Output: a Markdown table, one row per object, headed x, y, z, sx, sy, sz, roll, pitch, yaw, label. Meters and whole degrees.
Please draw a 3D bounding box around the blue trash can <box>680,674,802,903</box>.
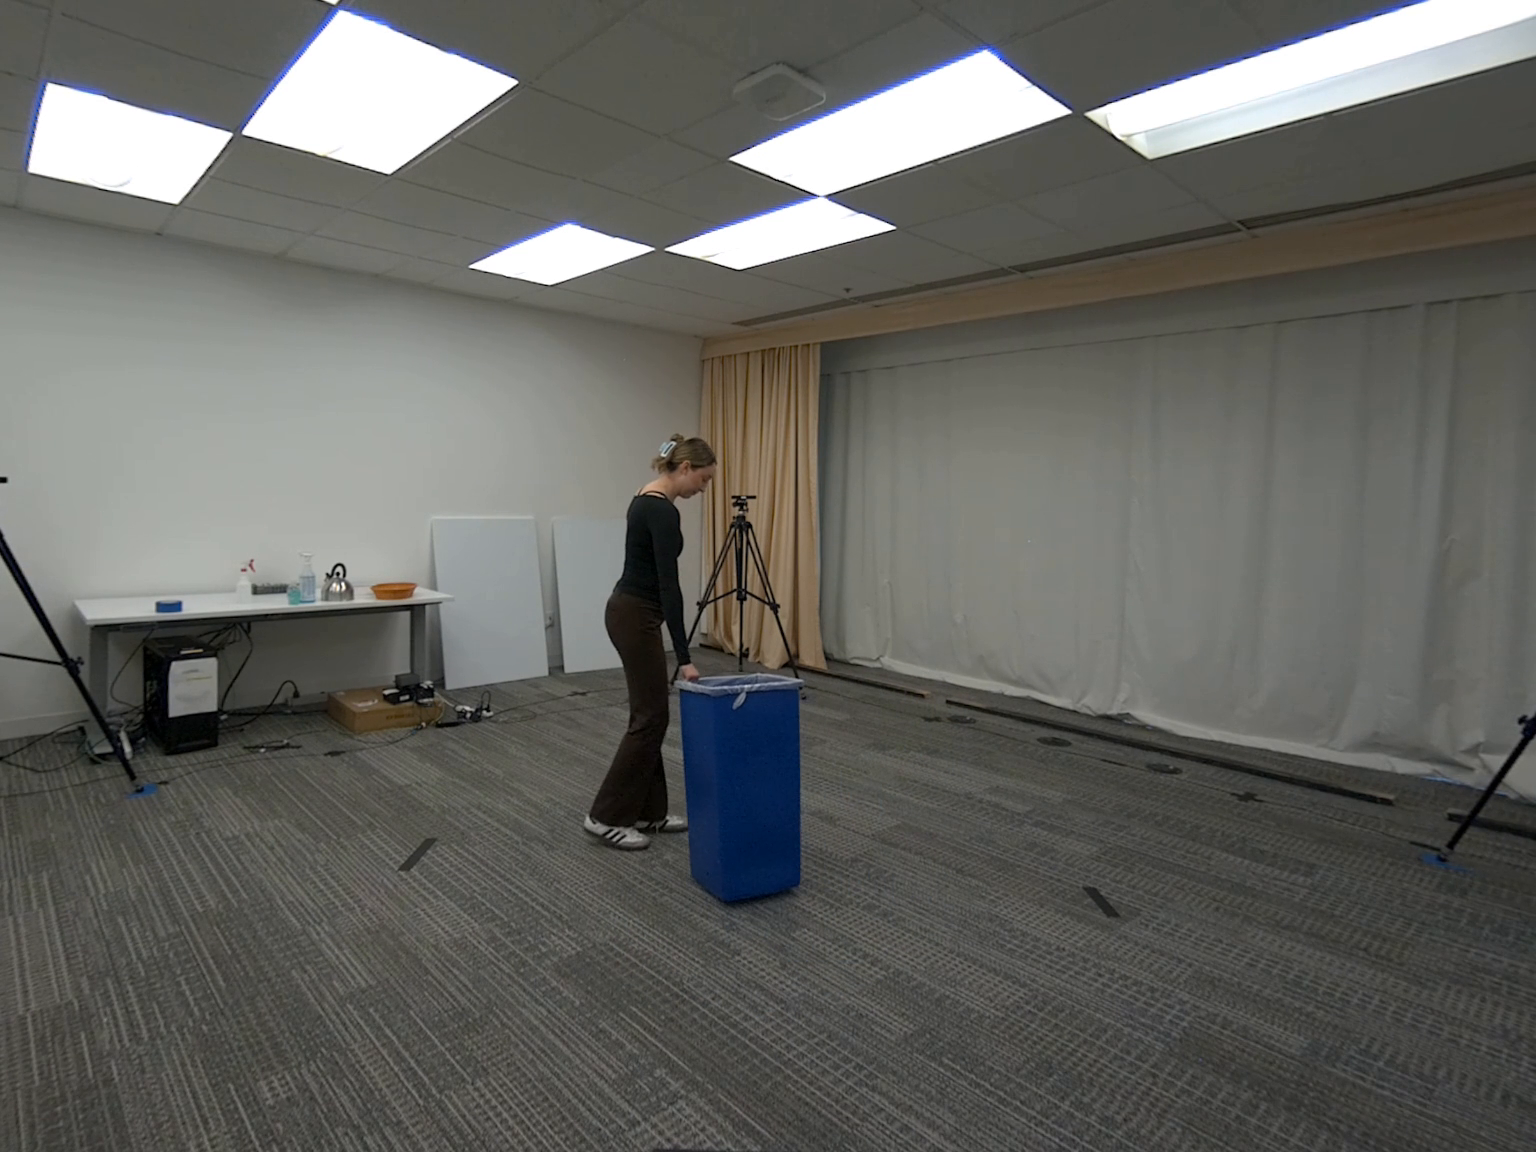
| x | y | z | sx | sy | sz | roll | pitch | yaw | label |
| --- | --- | --- | --- | --- | --- | --- | --- | --- | --- |
| -0.105 | 0.736 | 3.036 | 0.371 | 0.715 | 0.380 | 0 | -4 | -28 | blue trash can |
